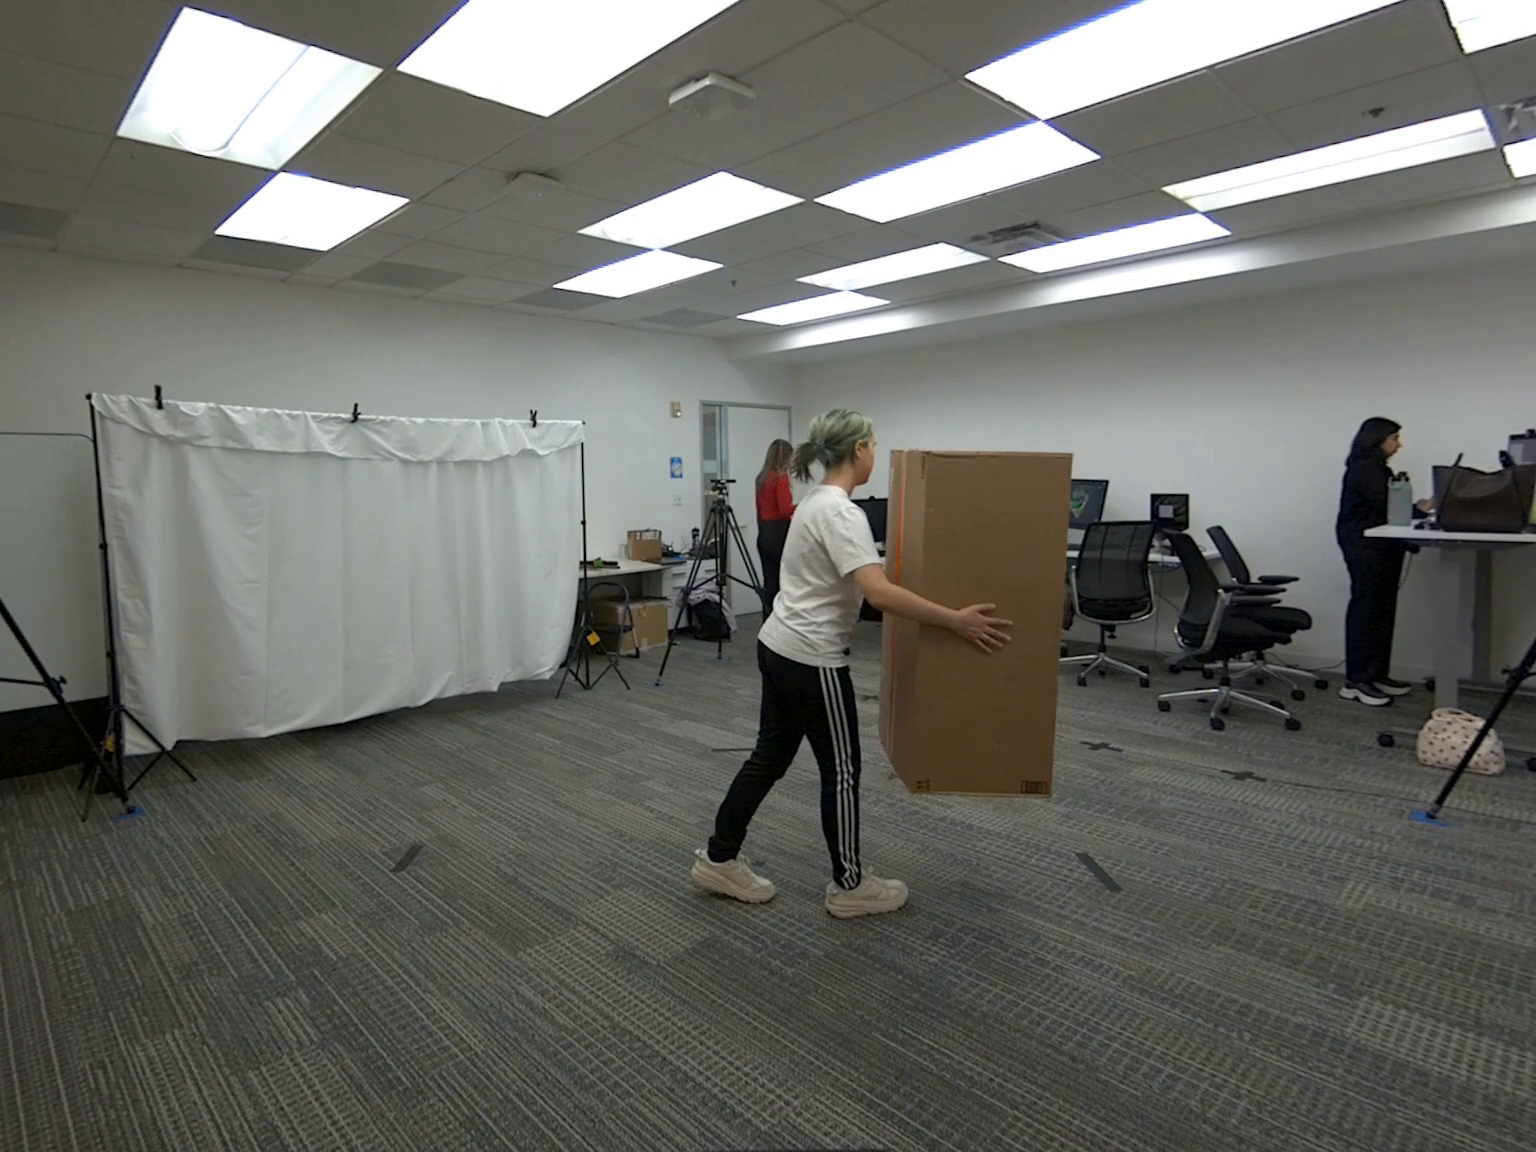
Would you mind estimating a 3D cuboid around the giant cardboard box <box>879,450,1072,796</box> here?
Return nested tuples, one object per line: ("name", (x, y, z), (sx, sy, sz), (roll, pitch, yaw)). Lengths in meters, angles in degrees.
("giant cardboard box", (0.632, 0.112, 2.765), (0.446, 1.022, 0.587), (1, 6, -2))
